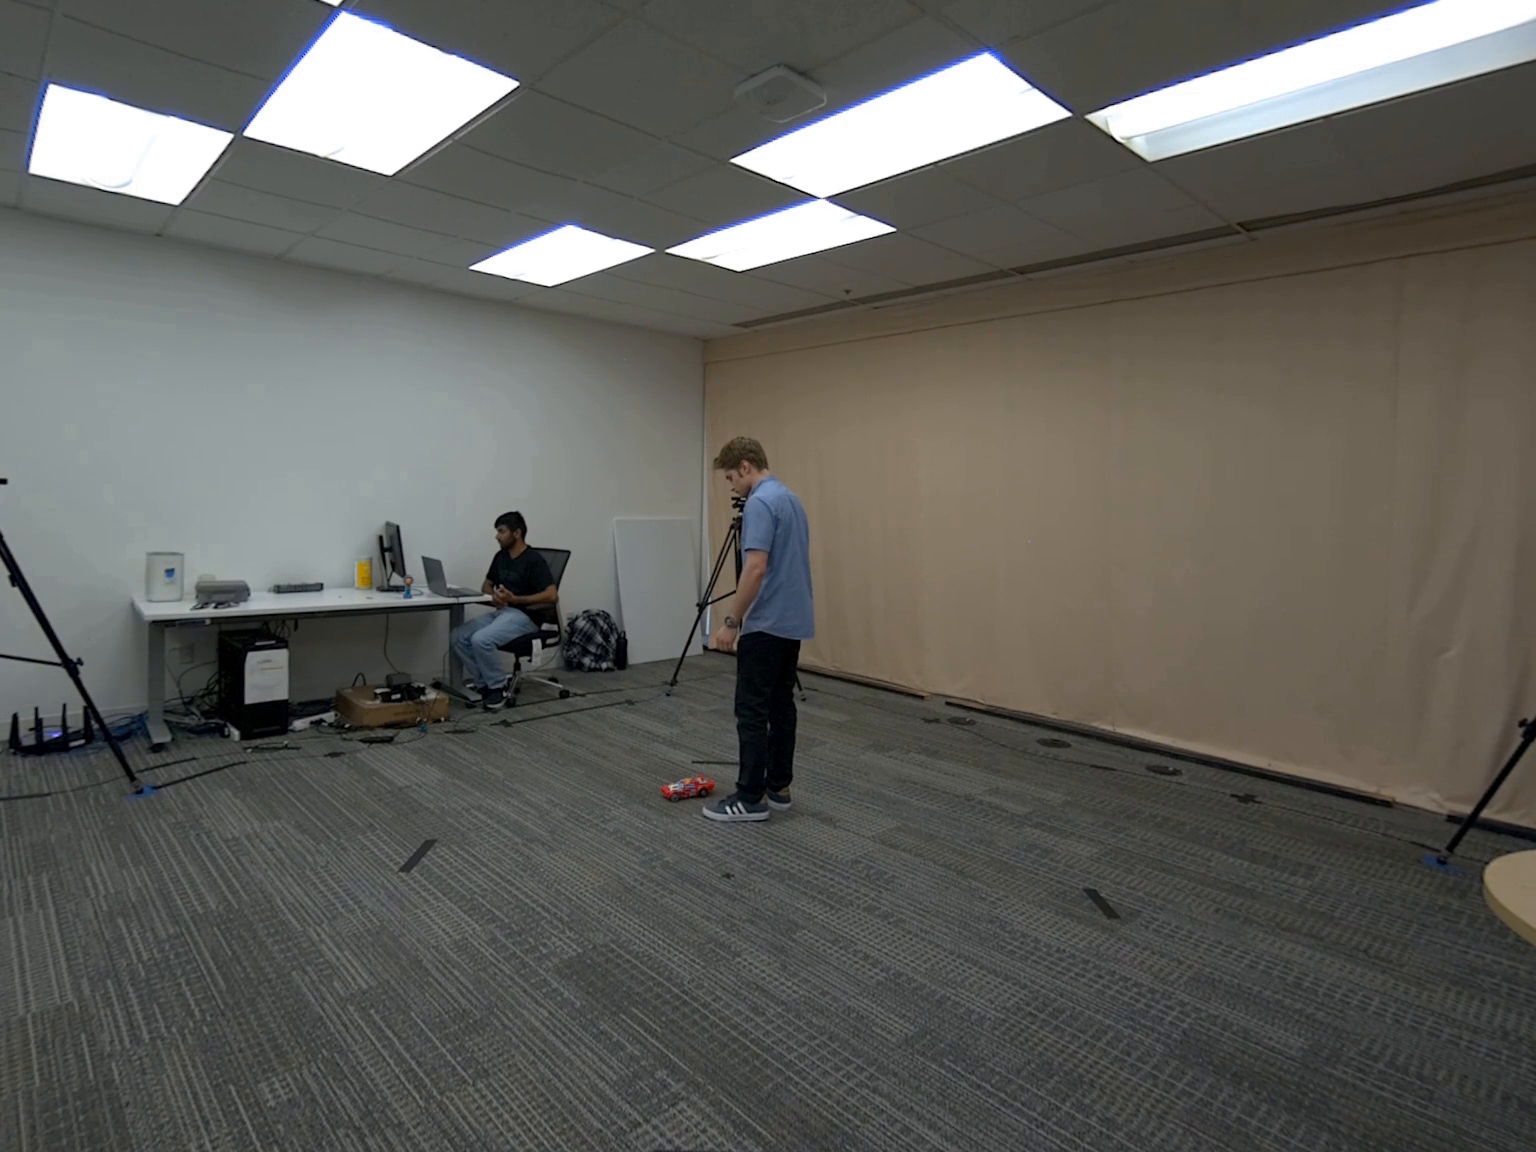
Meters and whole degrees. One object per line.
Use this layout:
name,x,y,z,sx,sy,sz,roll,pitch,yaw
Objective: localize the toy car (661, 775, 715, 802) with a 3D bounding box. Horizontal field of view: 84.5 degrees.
toy car,-0.381,1.000,3.947,0.251,0.083,0.133,-13,9,-25
